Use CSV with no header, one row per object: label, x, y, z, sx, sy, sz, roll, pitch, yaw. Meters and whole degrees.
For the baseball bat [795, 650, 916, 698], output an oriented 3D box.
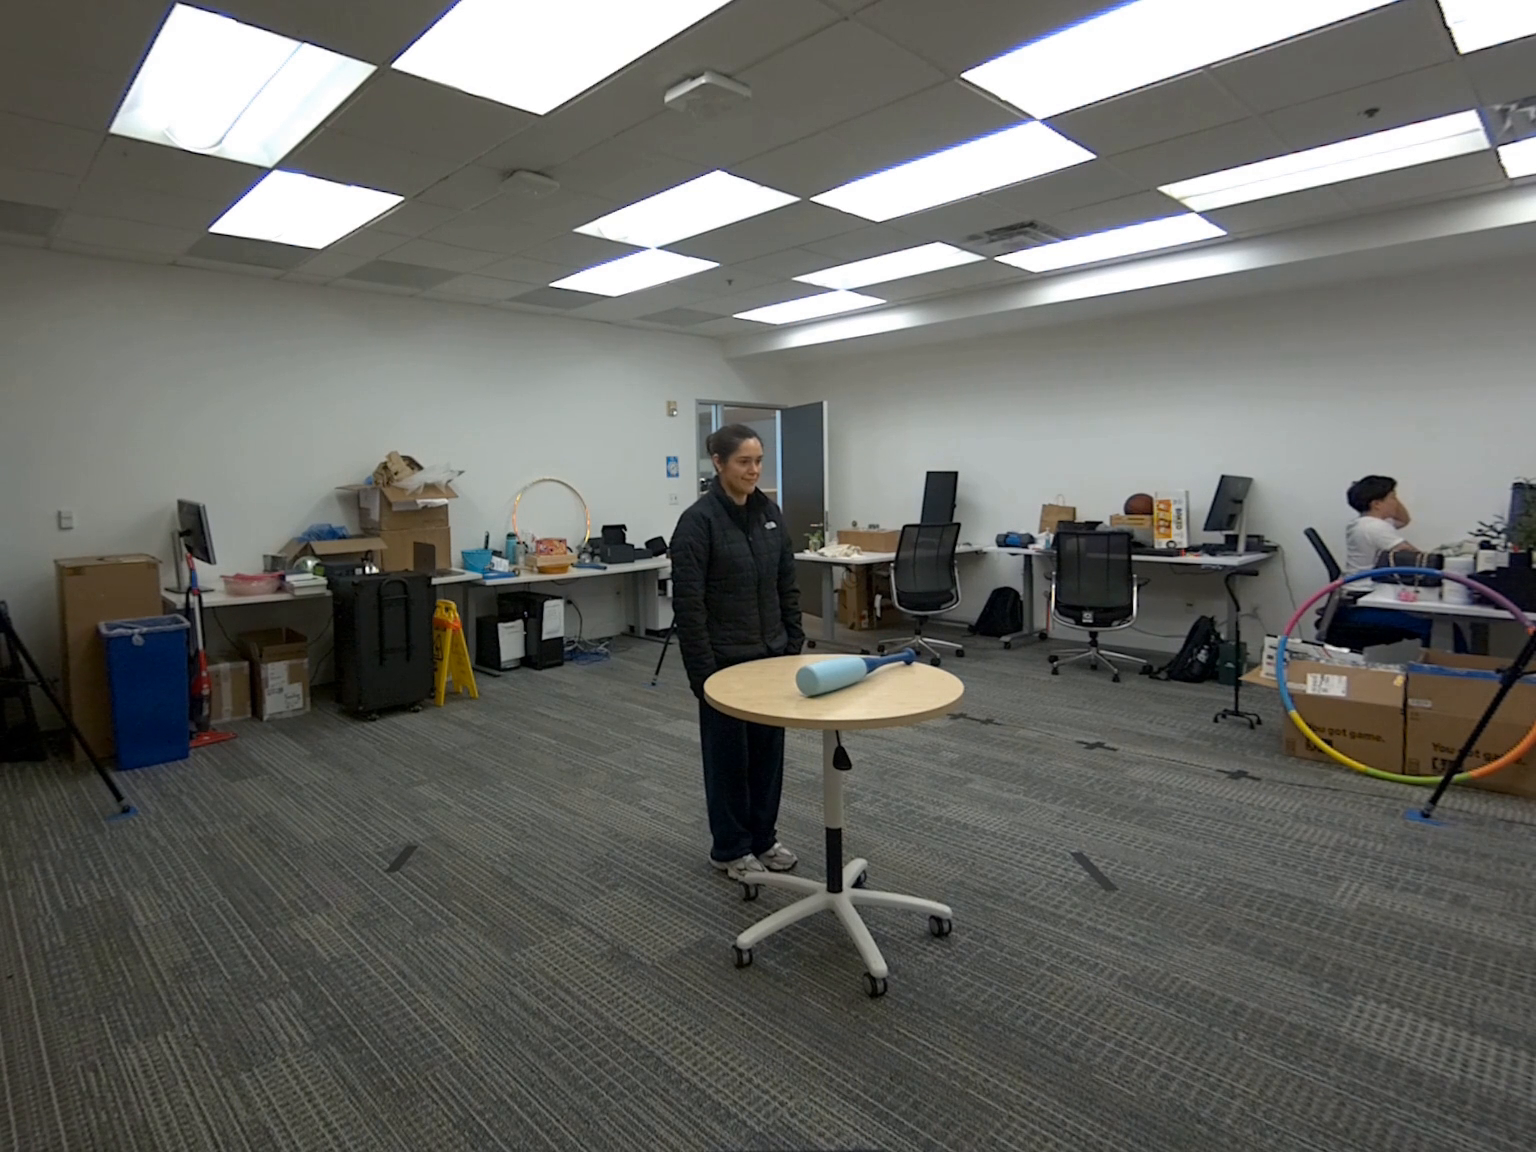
baseball bat,0.272,0.277,2.603,0.092,0.089,0.529,3,6,41
